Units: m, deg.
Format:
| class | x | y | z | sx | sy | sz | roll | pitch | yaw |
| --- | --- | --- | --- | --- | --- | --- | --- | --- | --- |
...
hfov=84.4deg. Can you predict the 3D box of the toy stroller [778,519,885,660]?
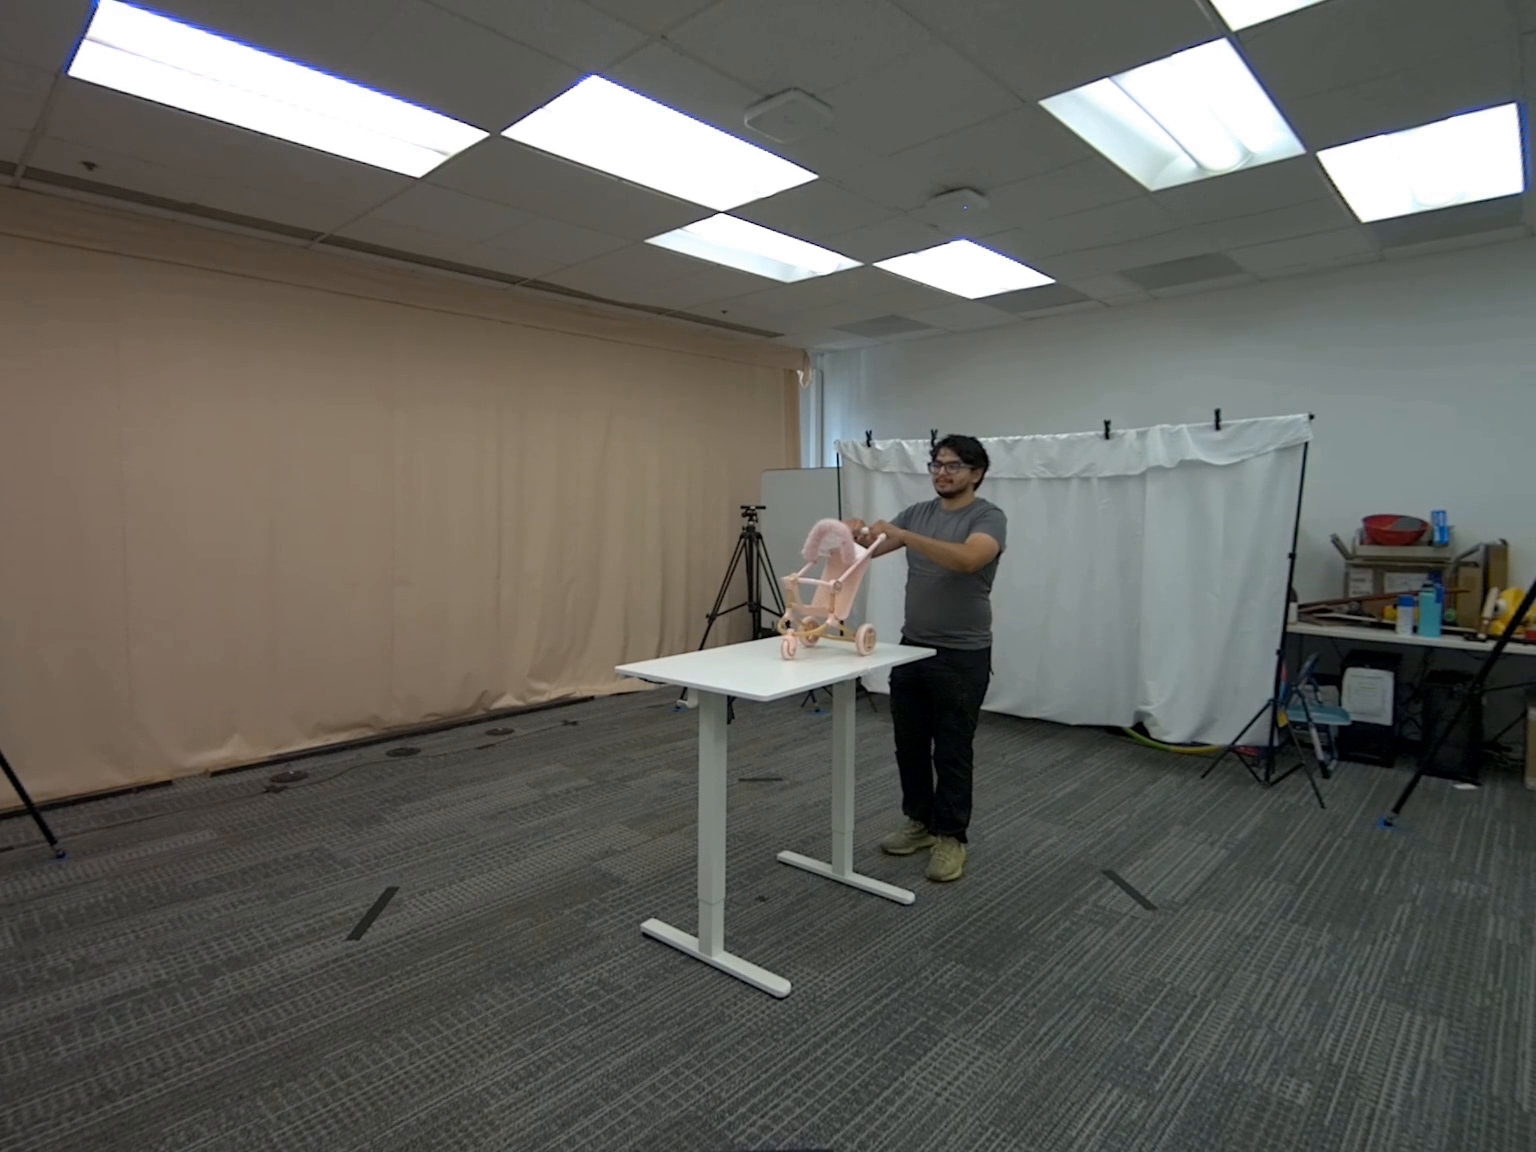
| class | x | y | z | sx | sy | sz | roll | pitch | yaw |
| --- | --- | --- | --- | --- | --- | --- | --- | --- | --- |
| toy stroller | 0.208 | 0.044 | 2.901 | 0.329 | 0.536 | 0.291 | 18 | -10 | -42 |
